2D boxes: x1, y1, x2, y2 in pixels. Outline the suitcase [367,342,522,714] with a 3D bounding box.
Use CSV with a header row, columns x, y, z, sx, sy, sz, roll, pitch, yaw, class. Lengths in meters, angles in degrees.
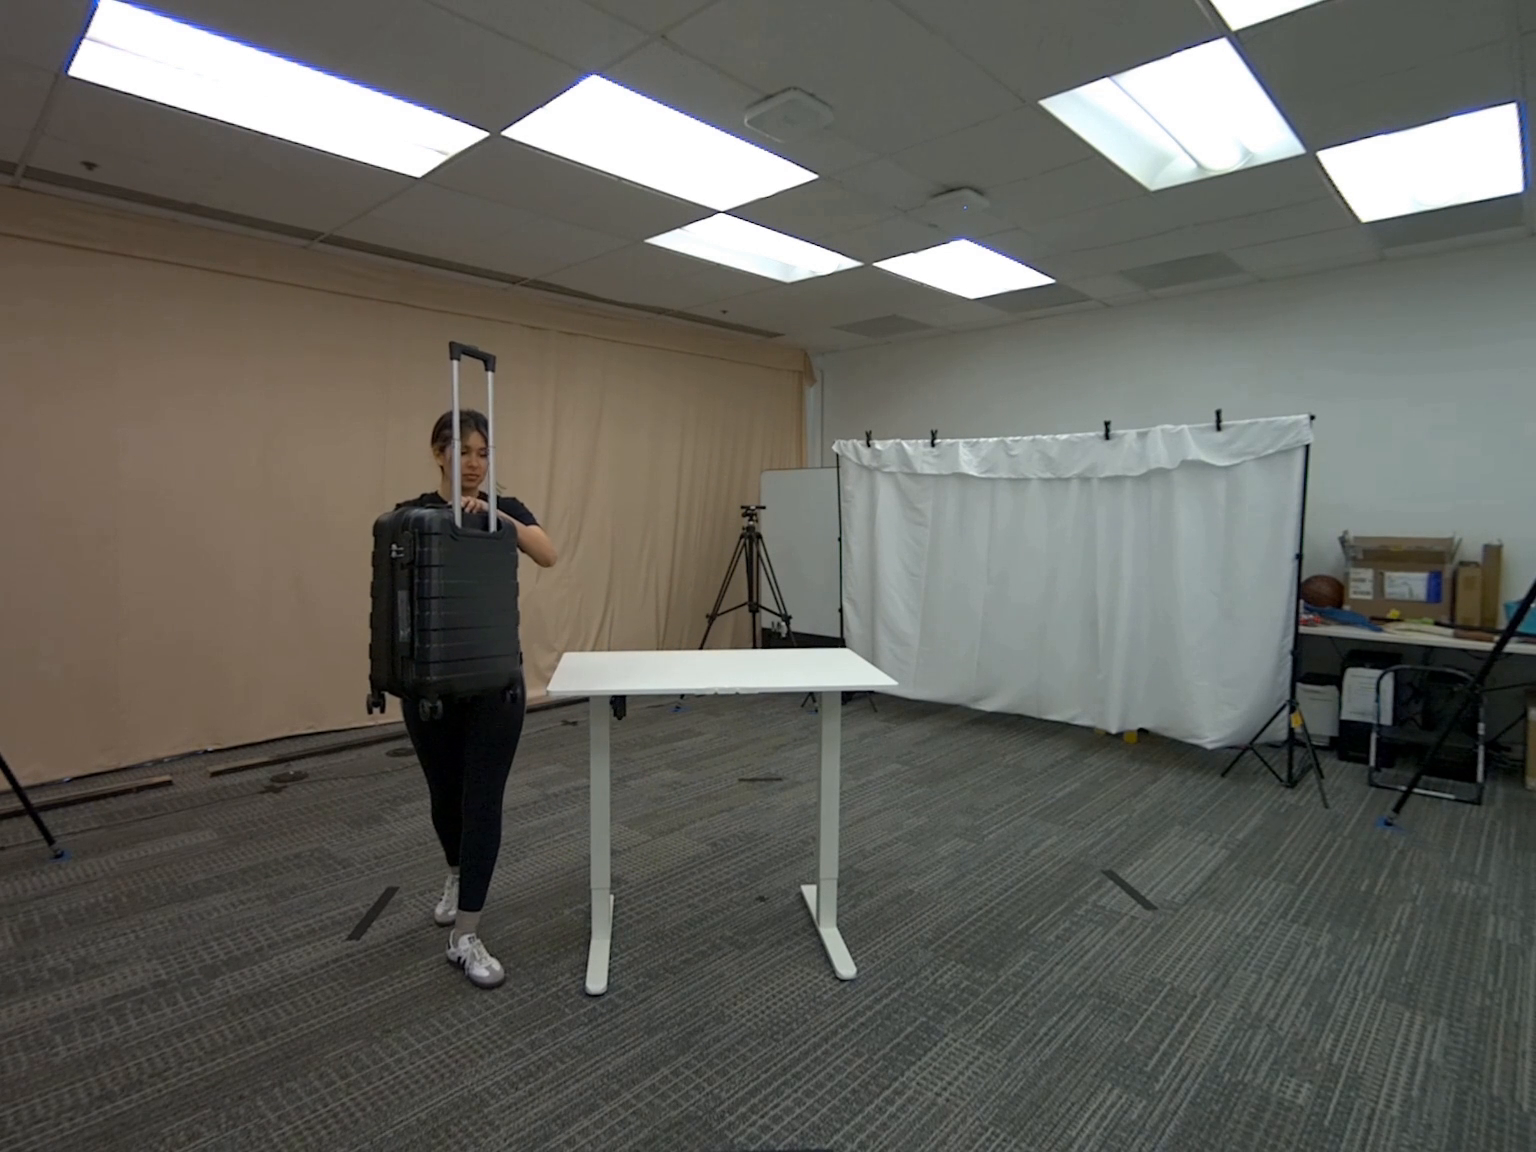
x,y,z,sx,sy,sz,roll,pitch,yaw,class
-0.884,-0.126,2.306,0.263,0.981,0.374,-6,-4,25,suitcase
